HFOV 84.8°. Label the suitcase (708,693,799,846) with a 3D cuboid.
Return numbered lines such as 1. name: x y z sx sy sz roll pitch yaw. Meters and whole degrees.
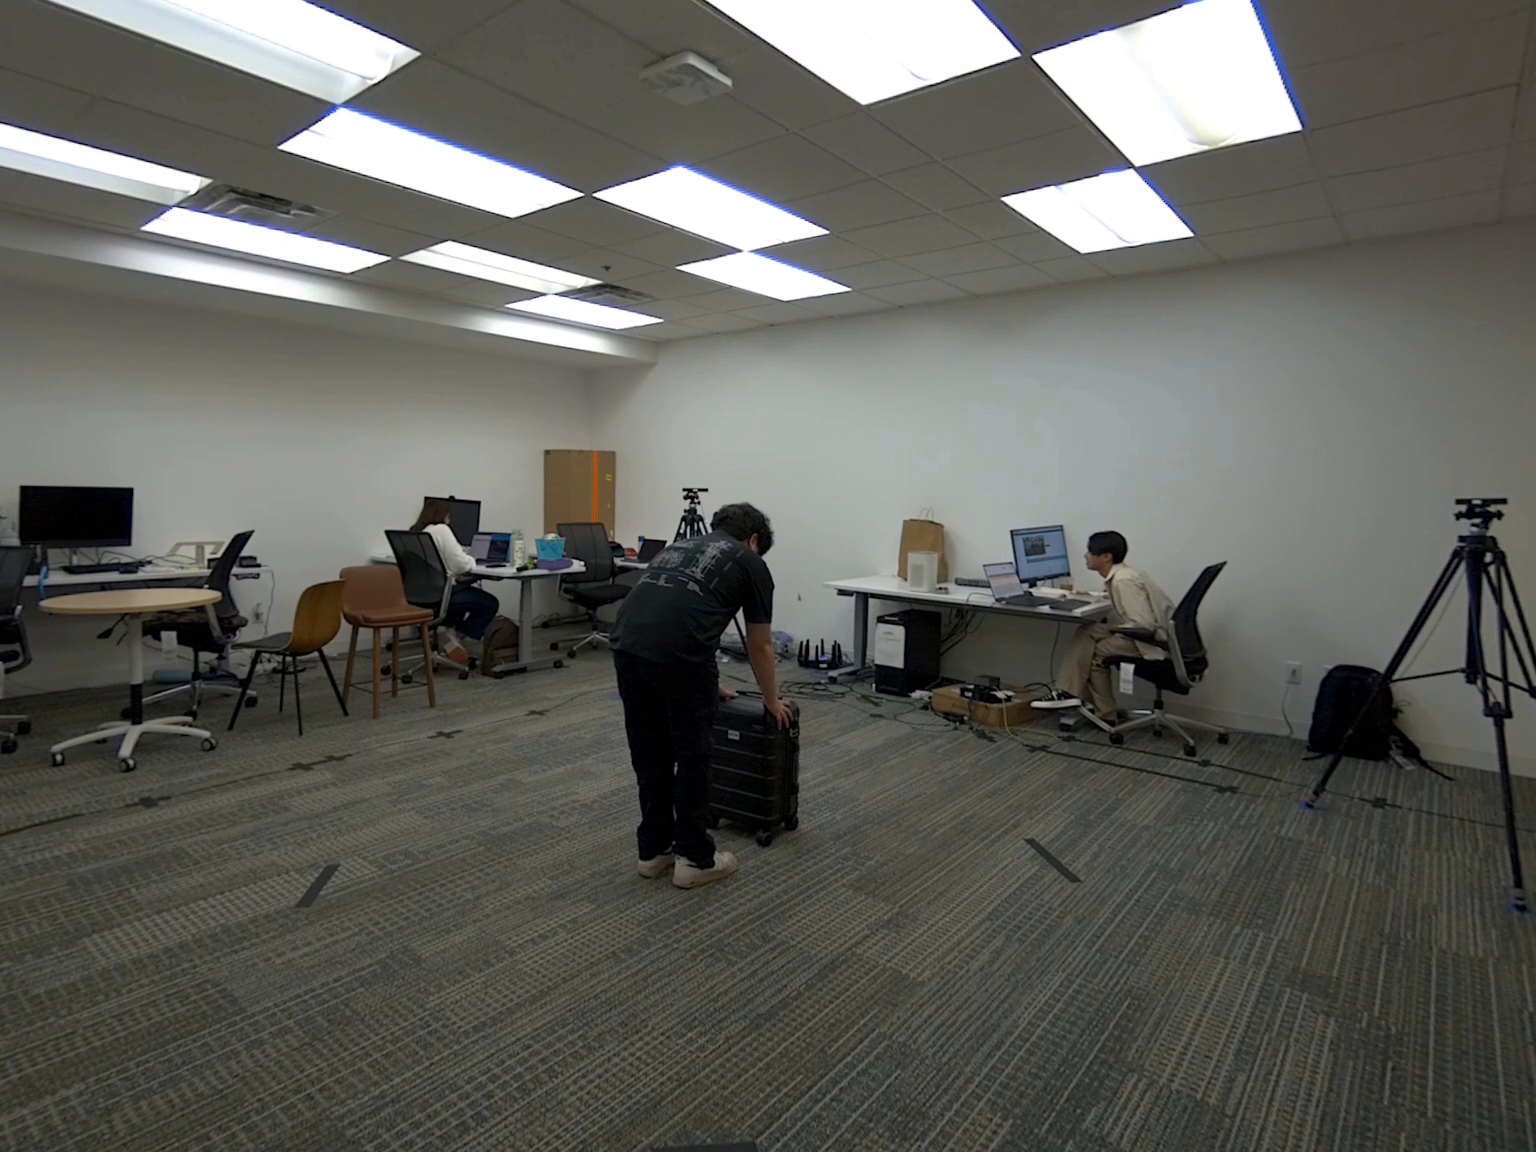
1. suitcase: -0.070 0.762 3.507 0.387 0.548 0.241 3 3 32
